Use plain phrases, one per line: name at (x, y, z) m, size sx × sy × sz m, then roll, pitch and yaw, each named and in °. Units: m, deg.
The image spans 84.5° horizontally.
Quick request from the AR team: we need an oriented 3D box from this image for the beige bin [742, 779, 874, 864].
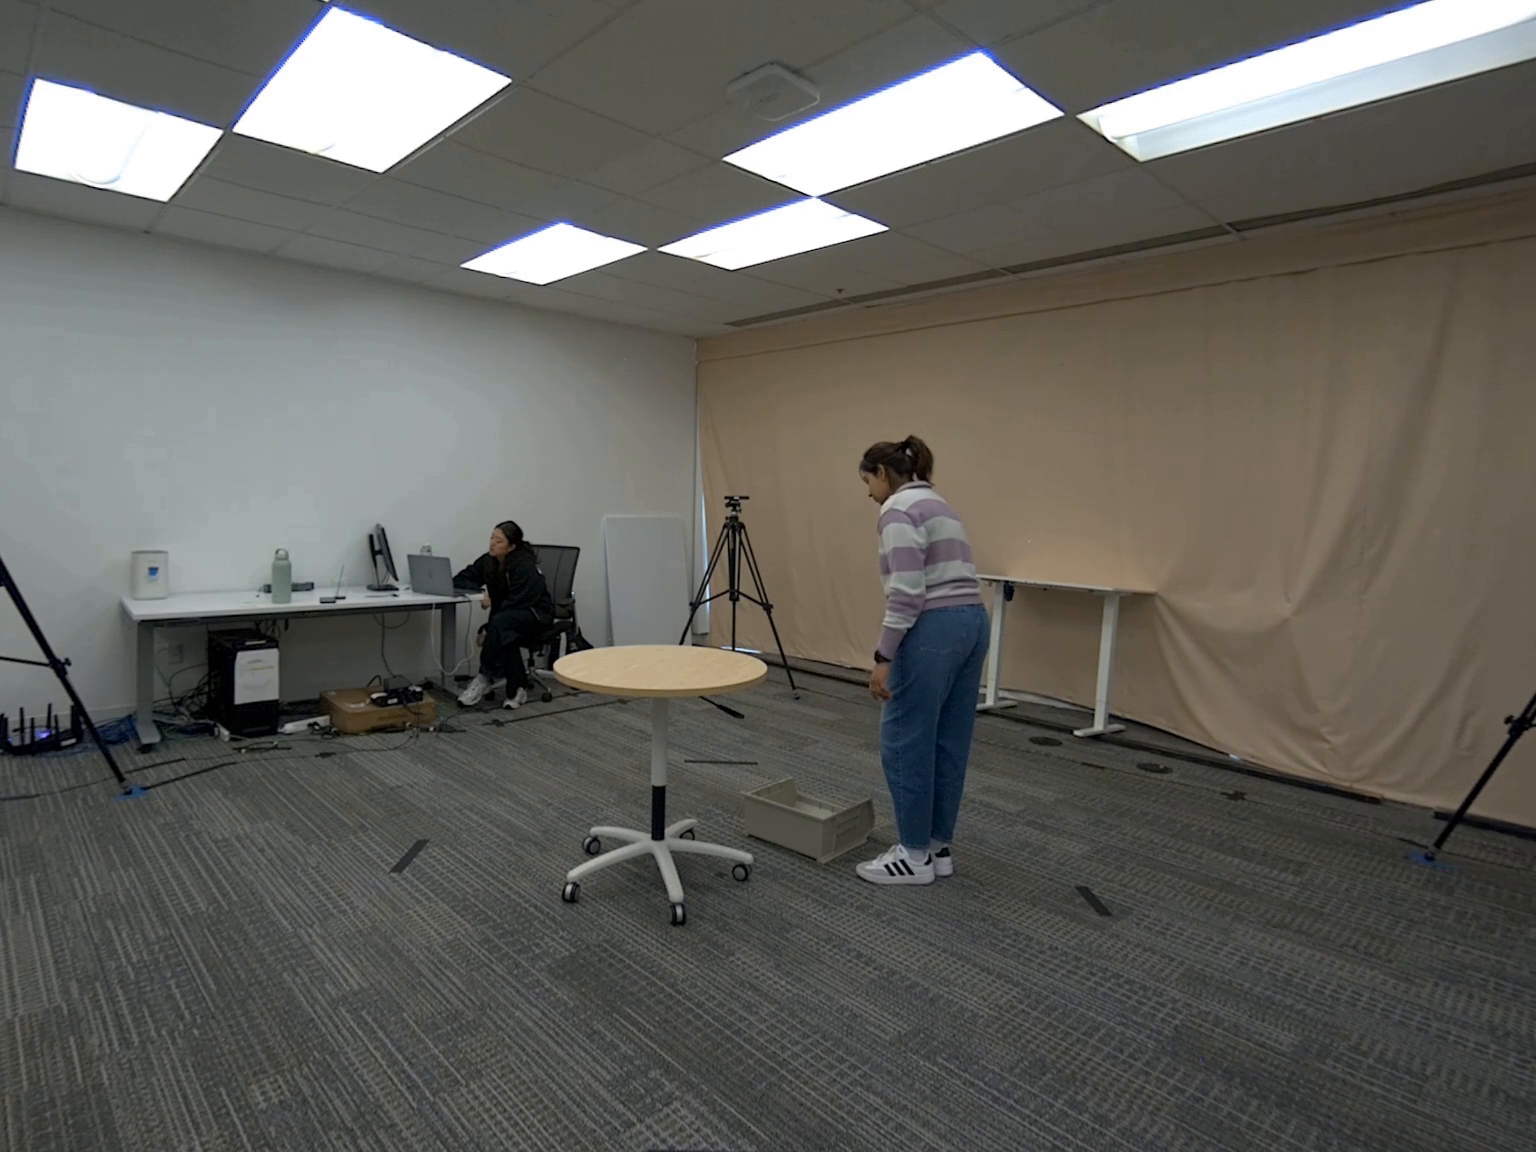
beige bin at (0.160, 0.988, 3.480) m, size 0.433 × 0.188 × 0.369 m, roll 5°, pitch 7°, yaw 40°
